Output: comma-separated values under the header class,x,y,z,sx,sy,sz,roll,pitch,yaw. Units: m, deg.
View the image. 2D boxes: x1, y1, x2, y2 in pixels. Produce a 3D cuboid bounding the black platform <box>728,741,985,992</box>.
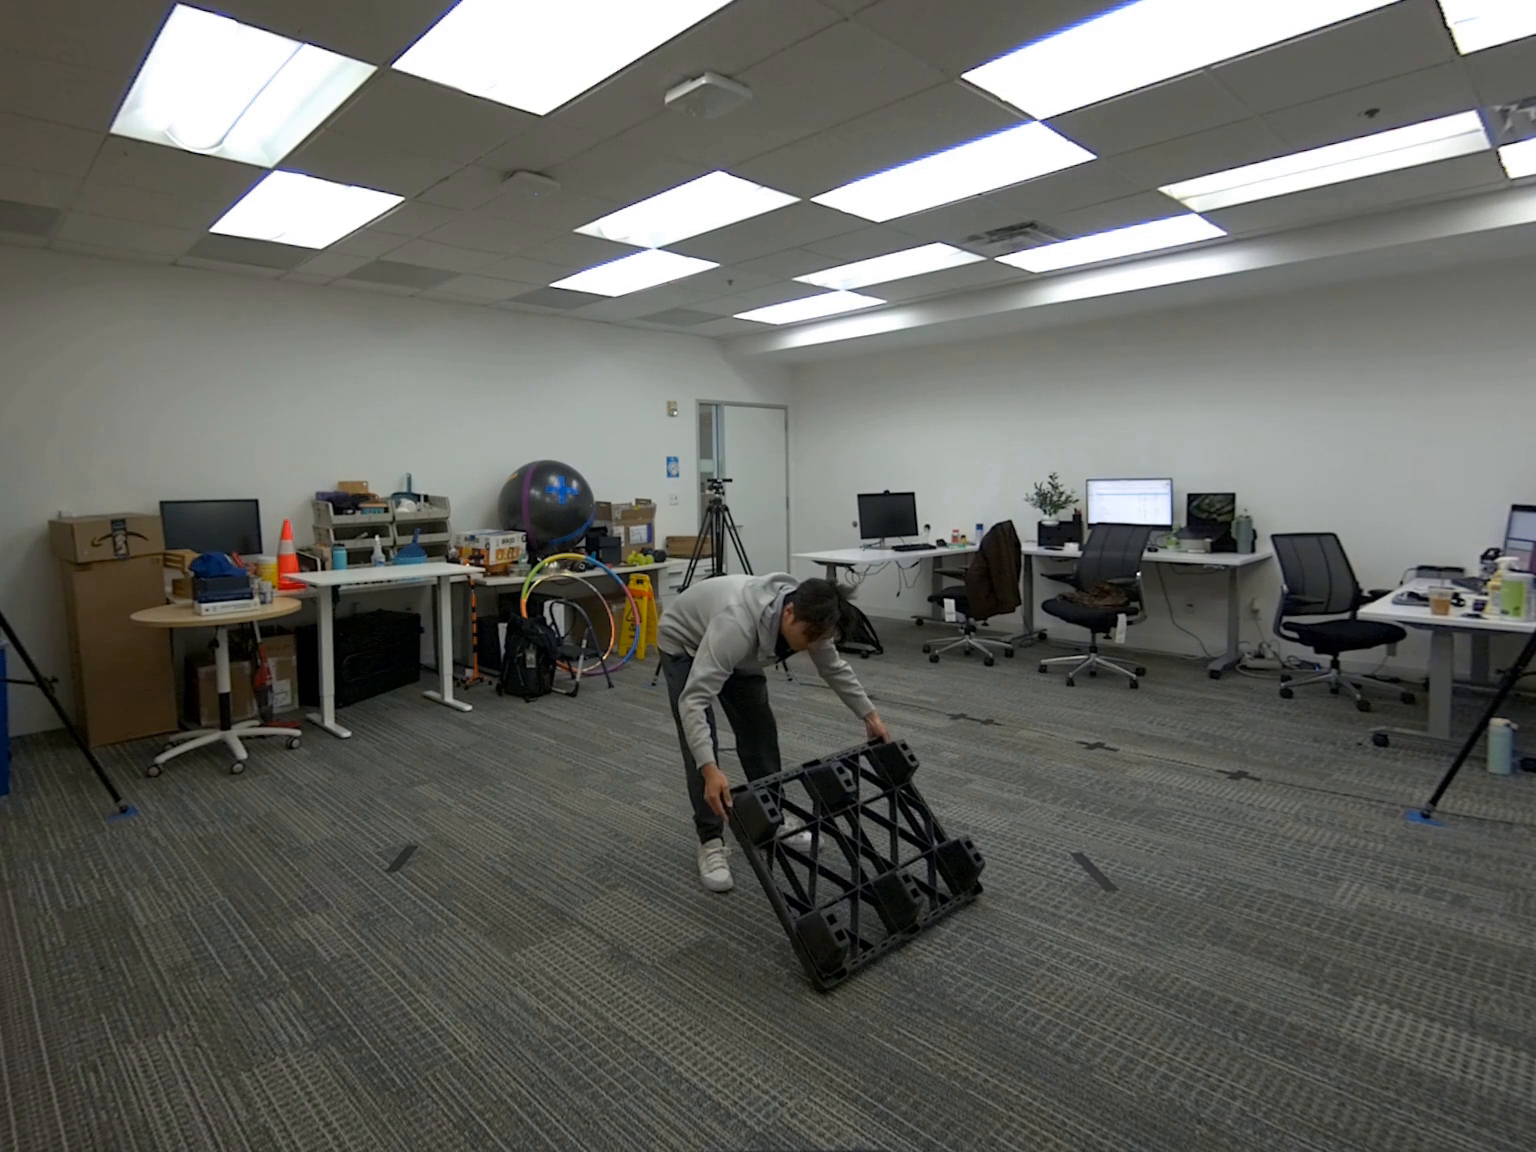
class,x,y,z,sx,sy,sz,roll,pitch,yaw
black platform,0.293,0.824,2.687,0.784,0.624,0.142,-6,-37,-42
